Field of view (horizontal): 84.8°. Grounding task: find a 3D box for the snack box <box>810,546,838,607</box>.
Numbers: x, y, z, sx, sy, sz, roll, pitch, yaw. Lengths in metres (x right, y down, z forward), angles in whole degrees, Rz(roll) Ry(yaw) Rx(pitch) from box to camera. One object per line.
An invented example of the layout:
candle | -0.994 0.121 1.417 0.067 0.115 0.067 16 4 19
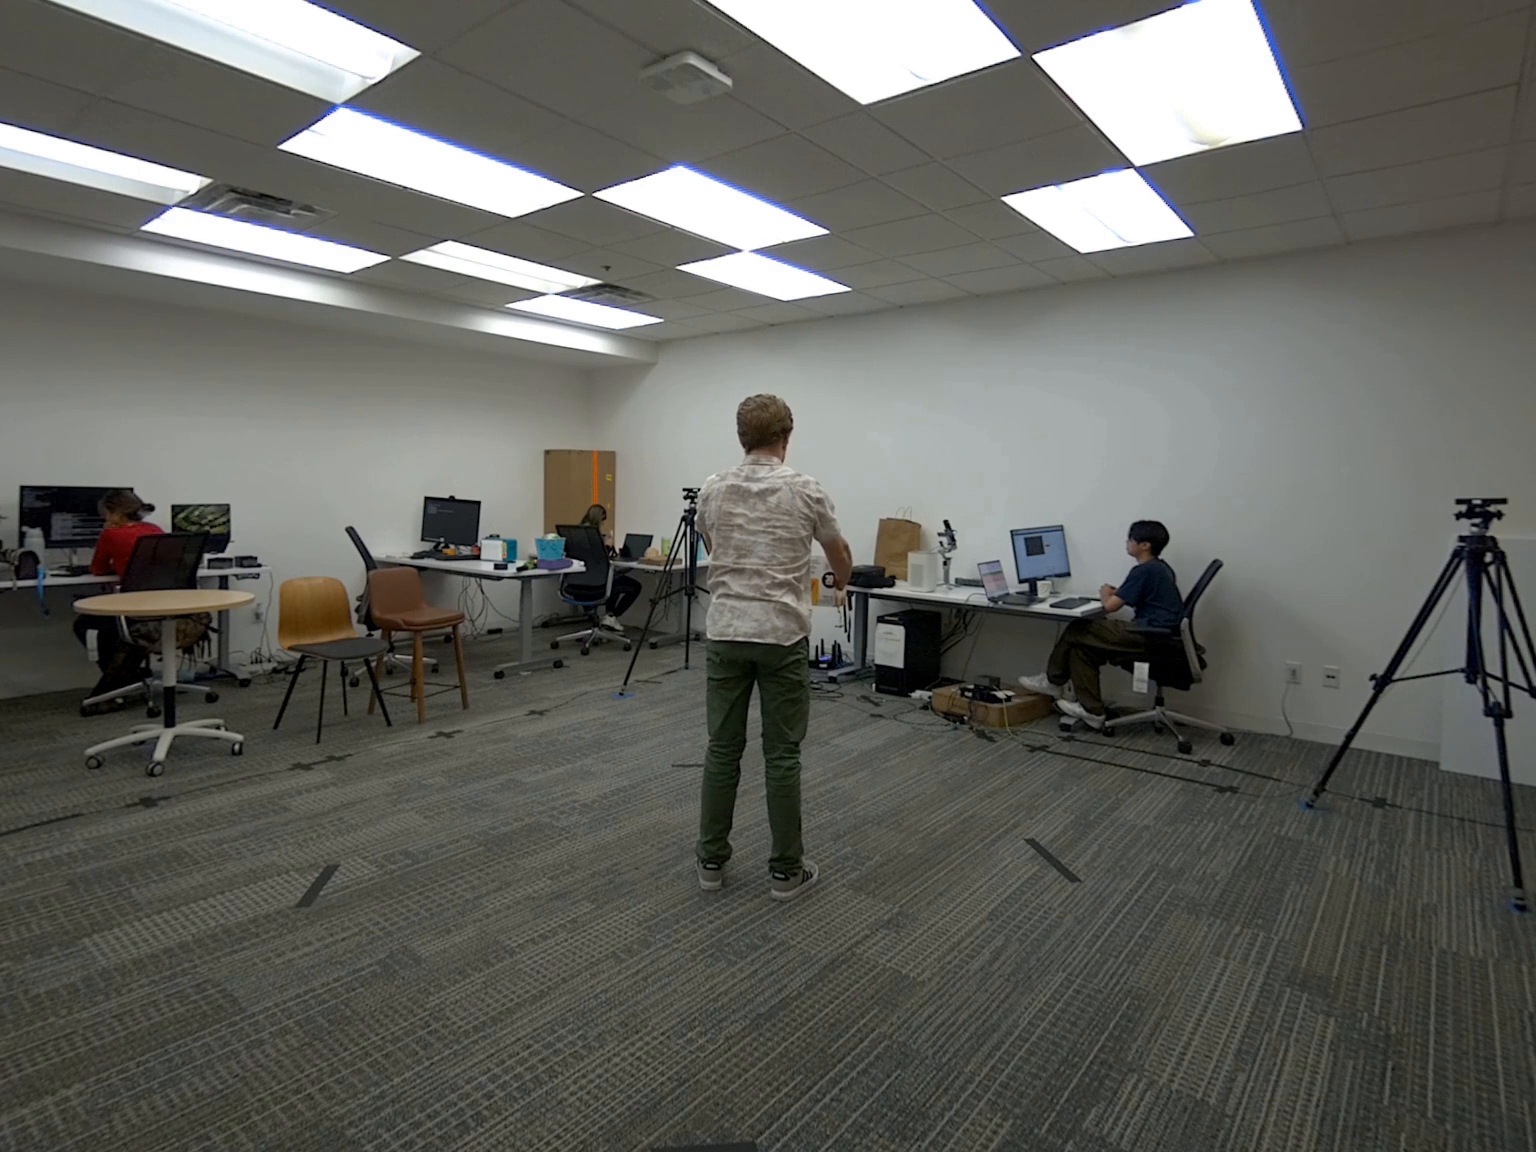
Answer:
snack box | 0.103 0.011 3.559 0.412 0.206 0.334 3 -1 15
